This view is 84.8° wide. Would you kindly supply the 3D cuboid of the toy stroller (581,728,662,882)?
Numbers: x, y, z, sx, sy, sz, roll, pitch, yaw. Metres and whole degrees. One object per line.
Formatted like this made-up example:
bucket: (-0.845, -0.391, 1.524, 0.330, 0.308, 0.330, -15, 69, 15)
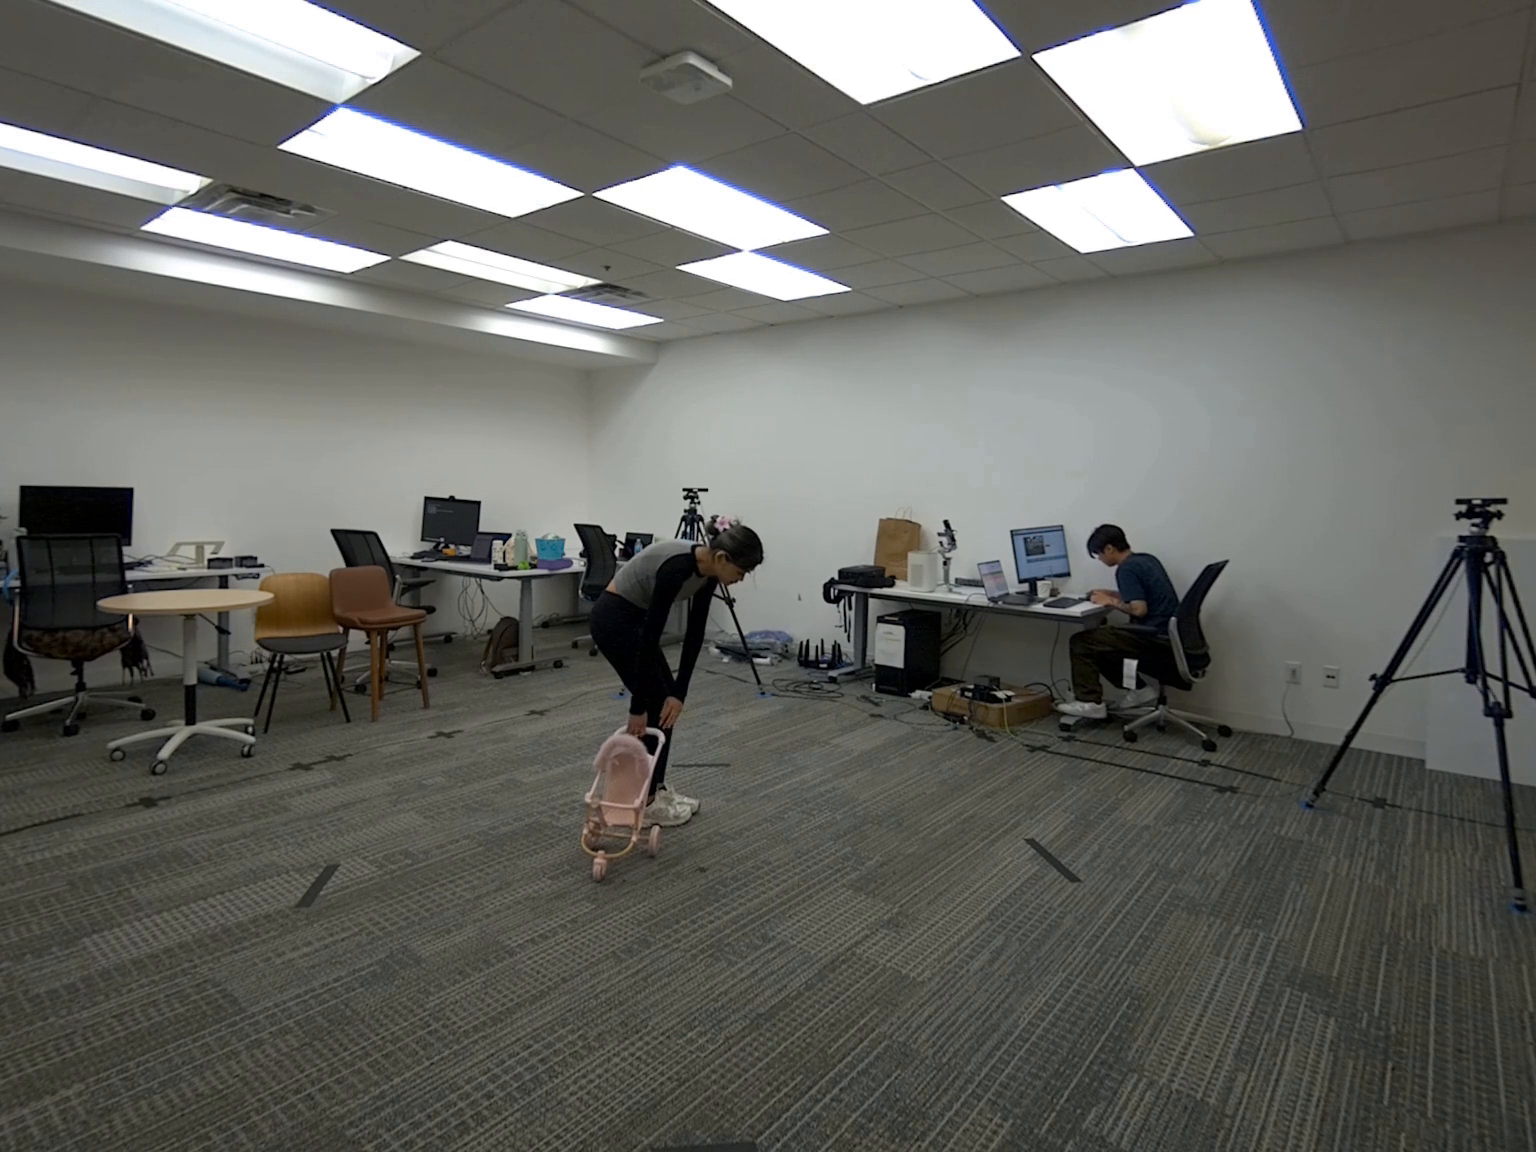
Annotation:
toy stroller: (-0.565, 0.829, 3.175, 0.286, 0.540, 0.332, 3, -12, 15)
